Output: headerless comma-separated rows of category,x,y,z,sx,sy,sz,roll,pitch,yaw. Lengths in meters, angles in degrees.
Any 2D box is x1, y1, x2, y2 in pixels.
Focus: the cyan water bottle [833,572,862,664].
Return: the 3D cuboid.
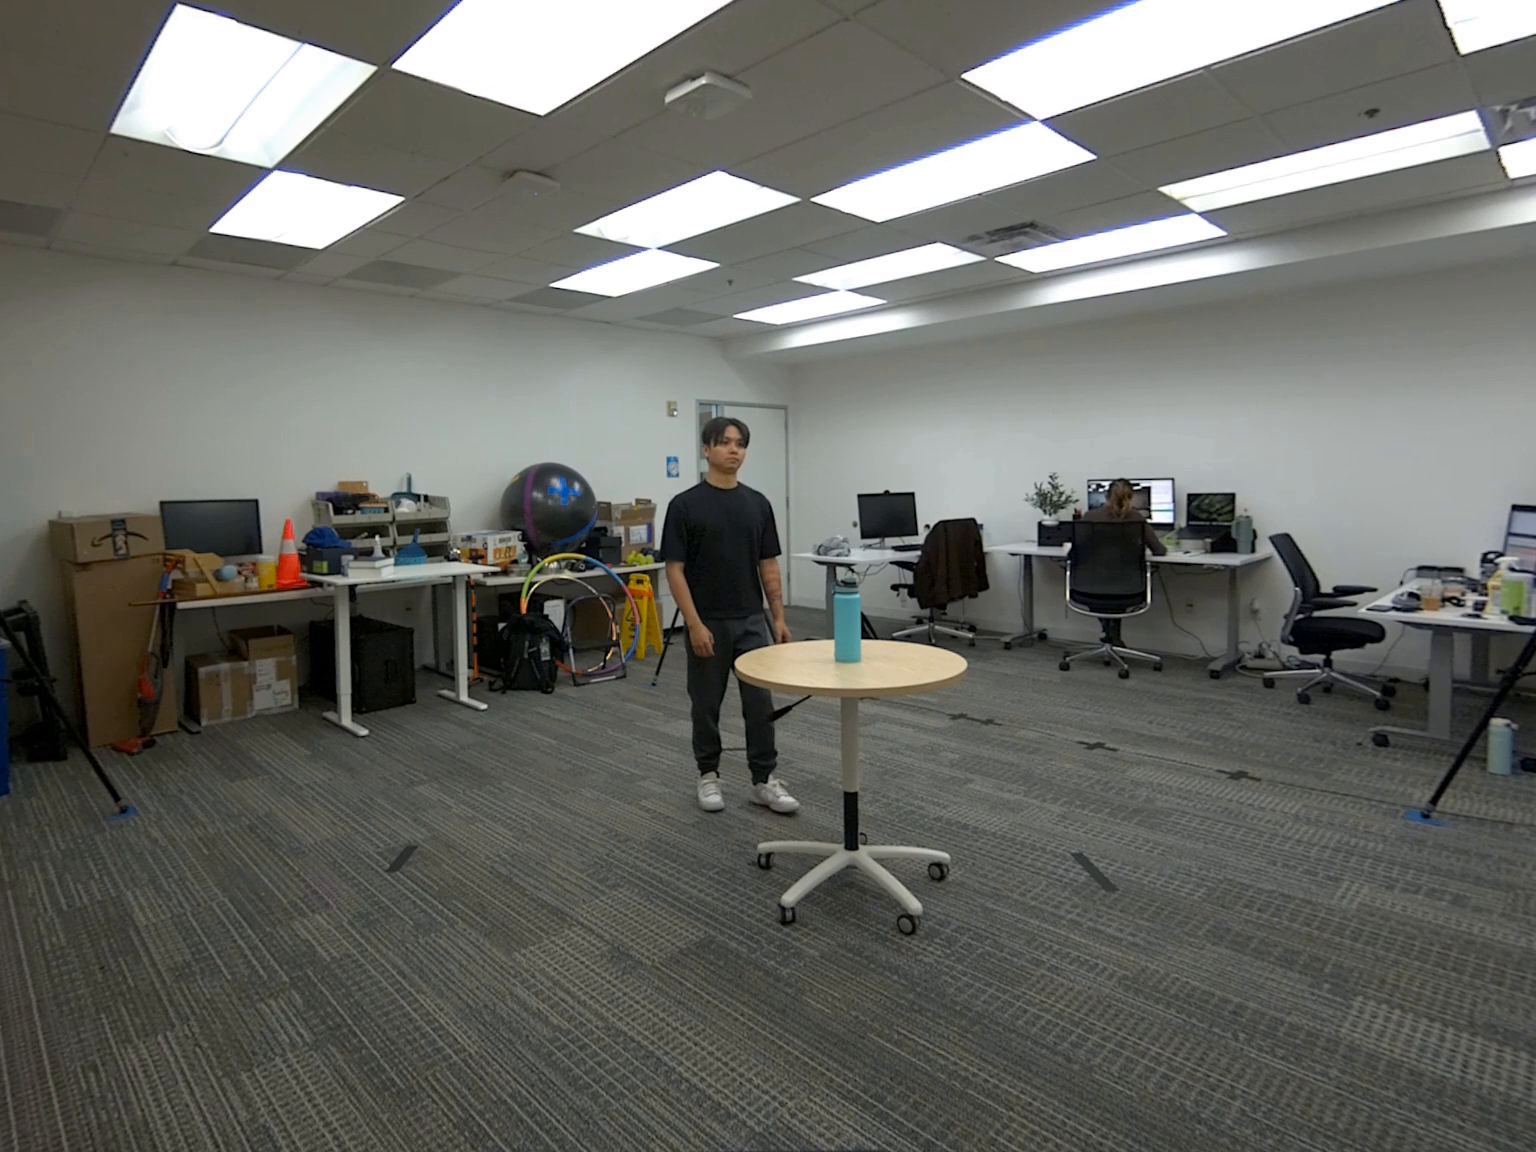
cyan water bottle,0.272,0.146,2.862,0.092,0.283,0.092,-3,1,-2
